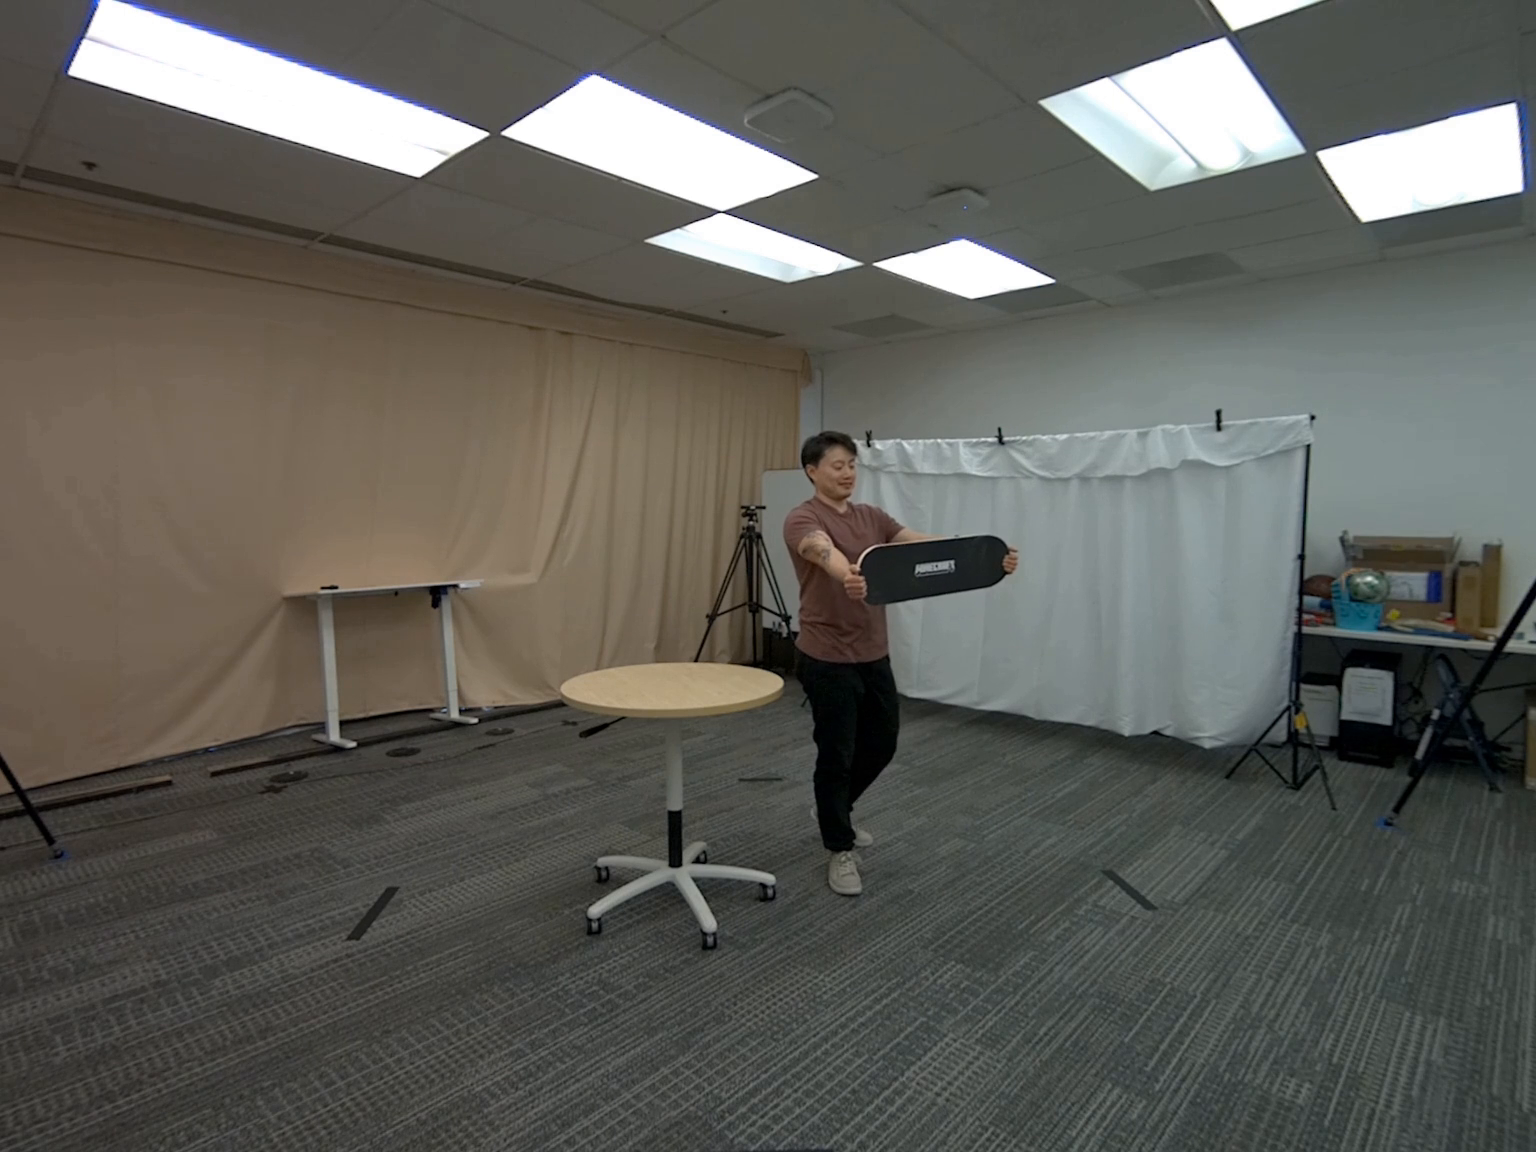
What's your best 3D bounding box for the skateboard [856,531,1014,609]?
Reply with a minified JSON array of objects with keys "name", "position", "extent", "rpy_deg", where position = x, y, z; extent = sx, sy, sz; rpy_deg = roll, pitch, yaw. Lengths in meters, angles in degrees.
[{"name":"skateboard","position":[0.546,-0.028,2.867],"extent":[0.763,0.193,0.114],"rpy_deg":[-7,5,-38]}]
